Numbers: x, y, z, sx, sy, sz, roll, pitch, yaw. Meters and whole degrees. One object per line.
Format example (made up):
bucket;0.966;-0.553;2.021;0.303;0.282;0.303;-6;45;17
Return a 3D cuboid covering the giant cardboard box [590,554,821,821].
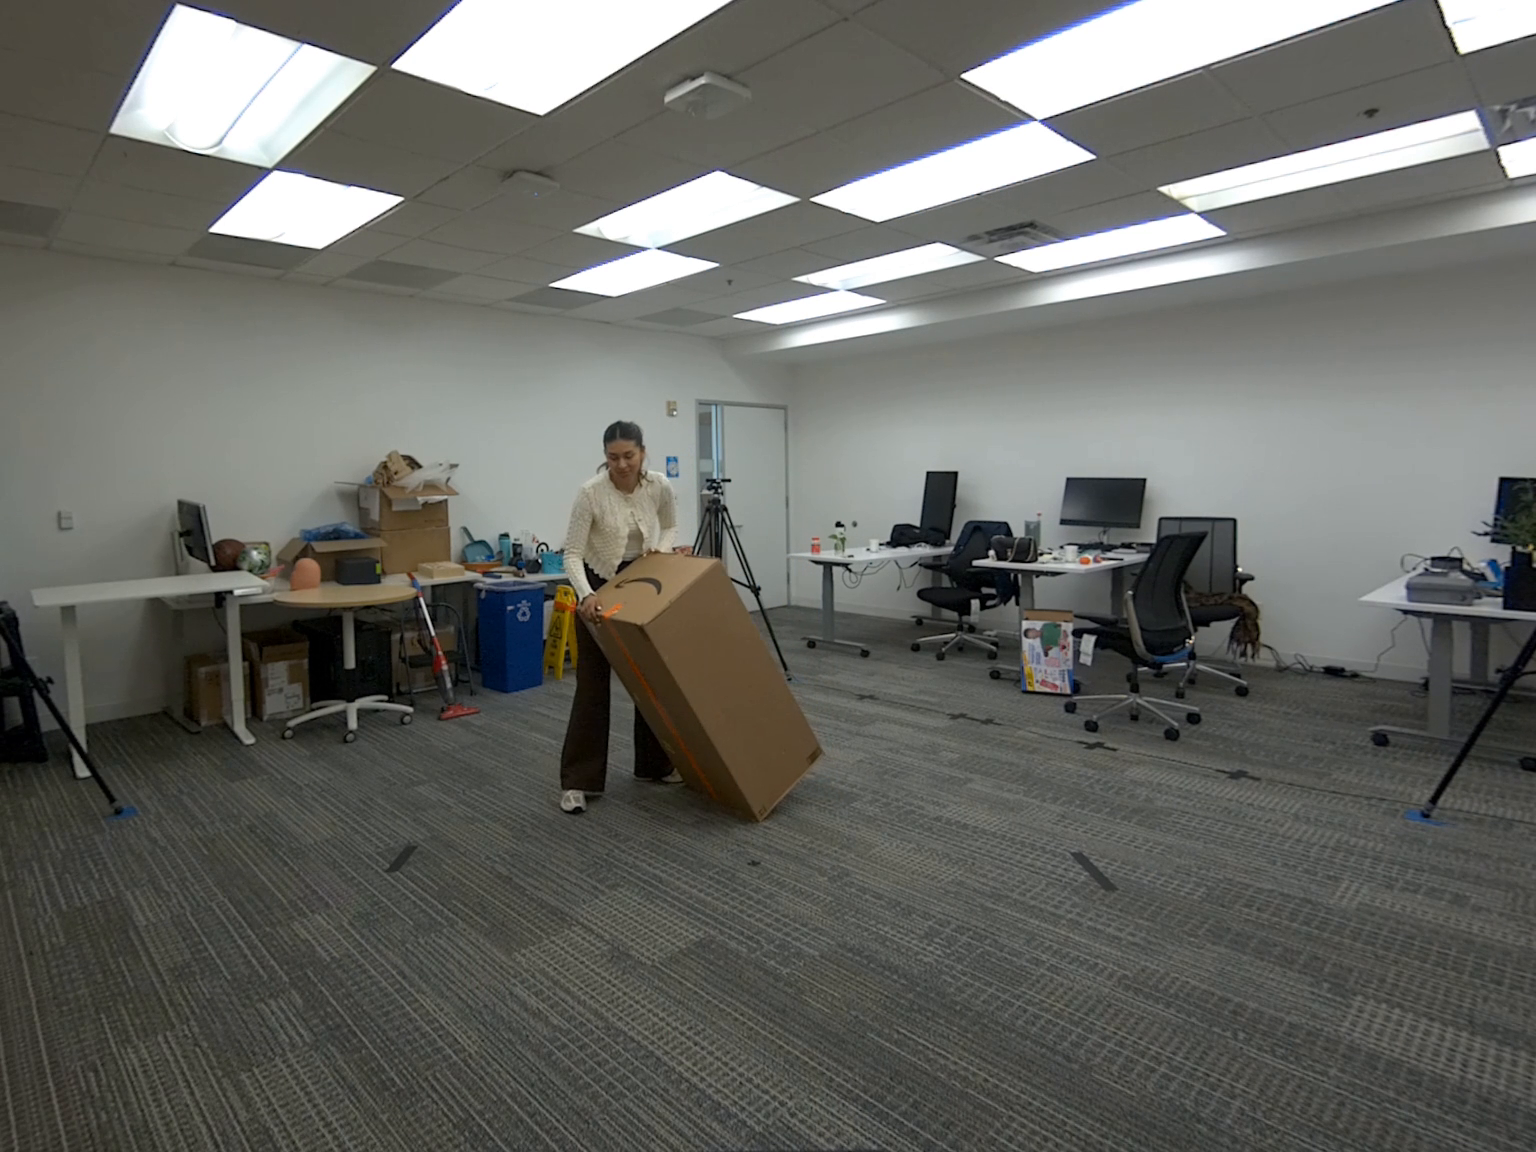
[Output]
giant cardboard box;-0.283;0.448;3.619;0.424;1.001;0.594;-39;24;-27
